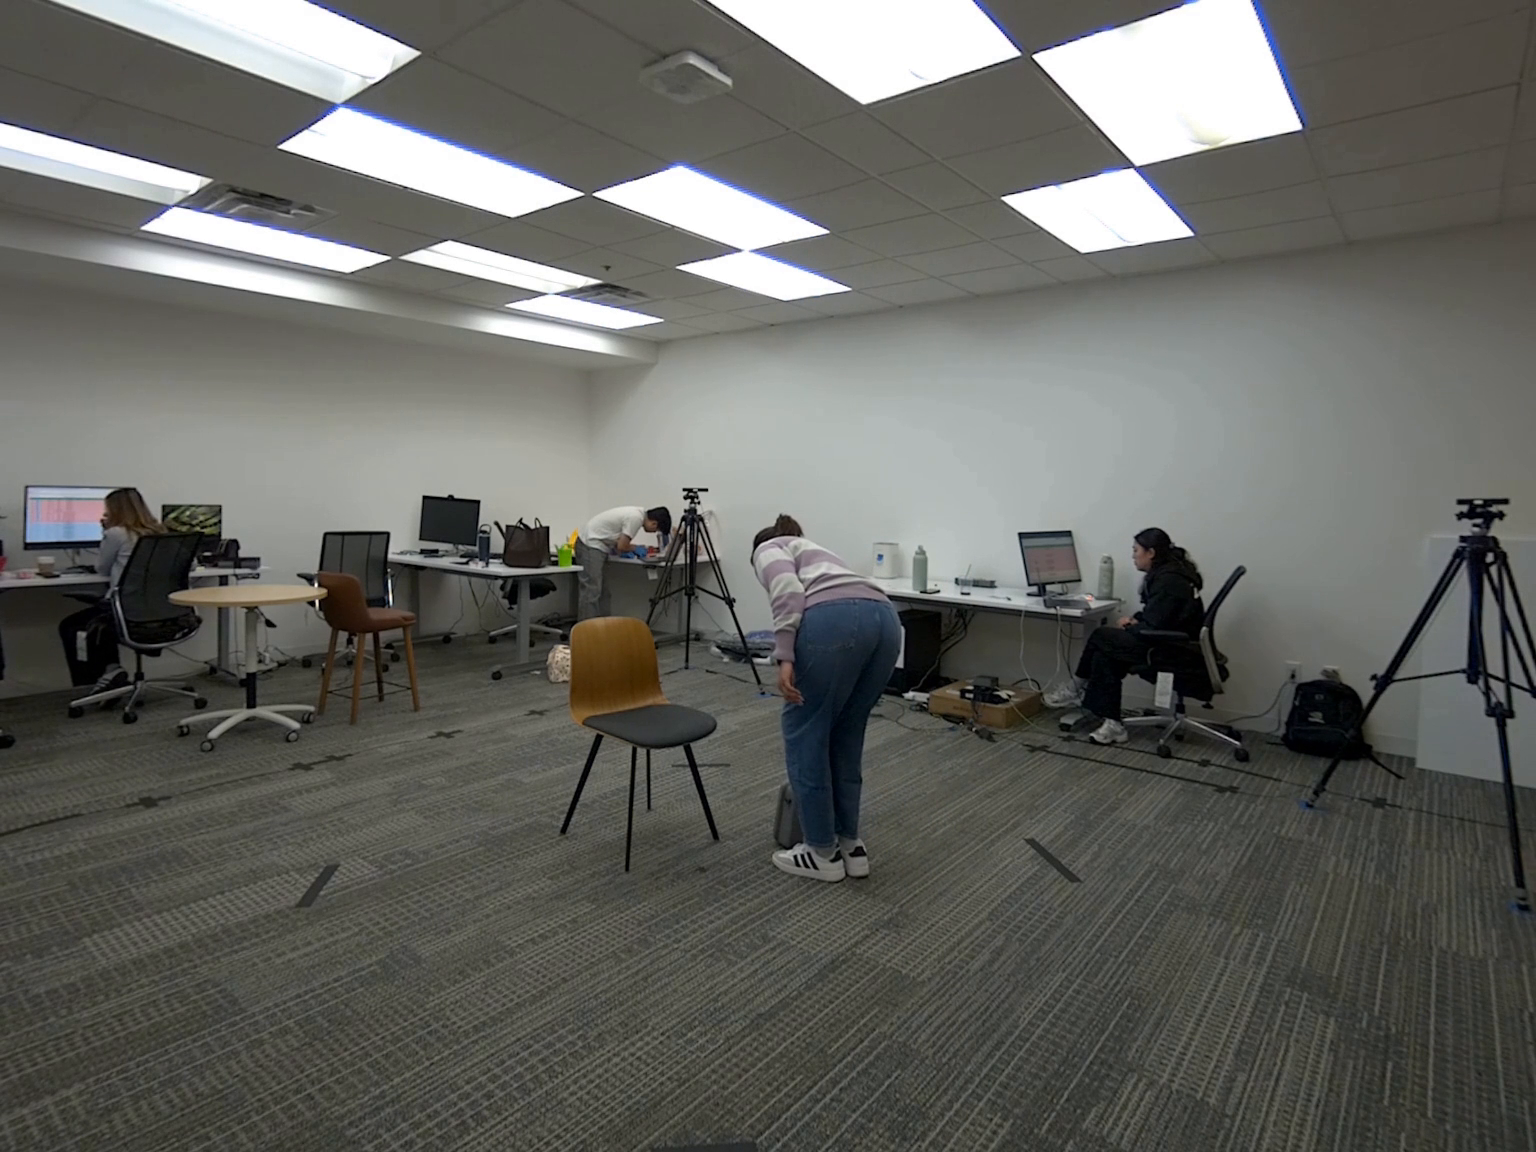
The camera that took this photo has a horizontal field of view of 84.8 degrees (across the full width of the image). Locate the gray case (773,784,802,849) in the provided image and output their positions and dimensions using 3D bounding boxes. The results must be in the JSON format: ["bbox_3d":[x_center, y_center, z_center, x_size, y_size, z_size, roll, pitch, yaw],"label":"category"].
[{"bbox_3d":[0.139,0.911,3.379,0.249,0.259,0.108,-1,9,-36],"label":"gray case"}]
